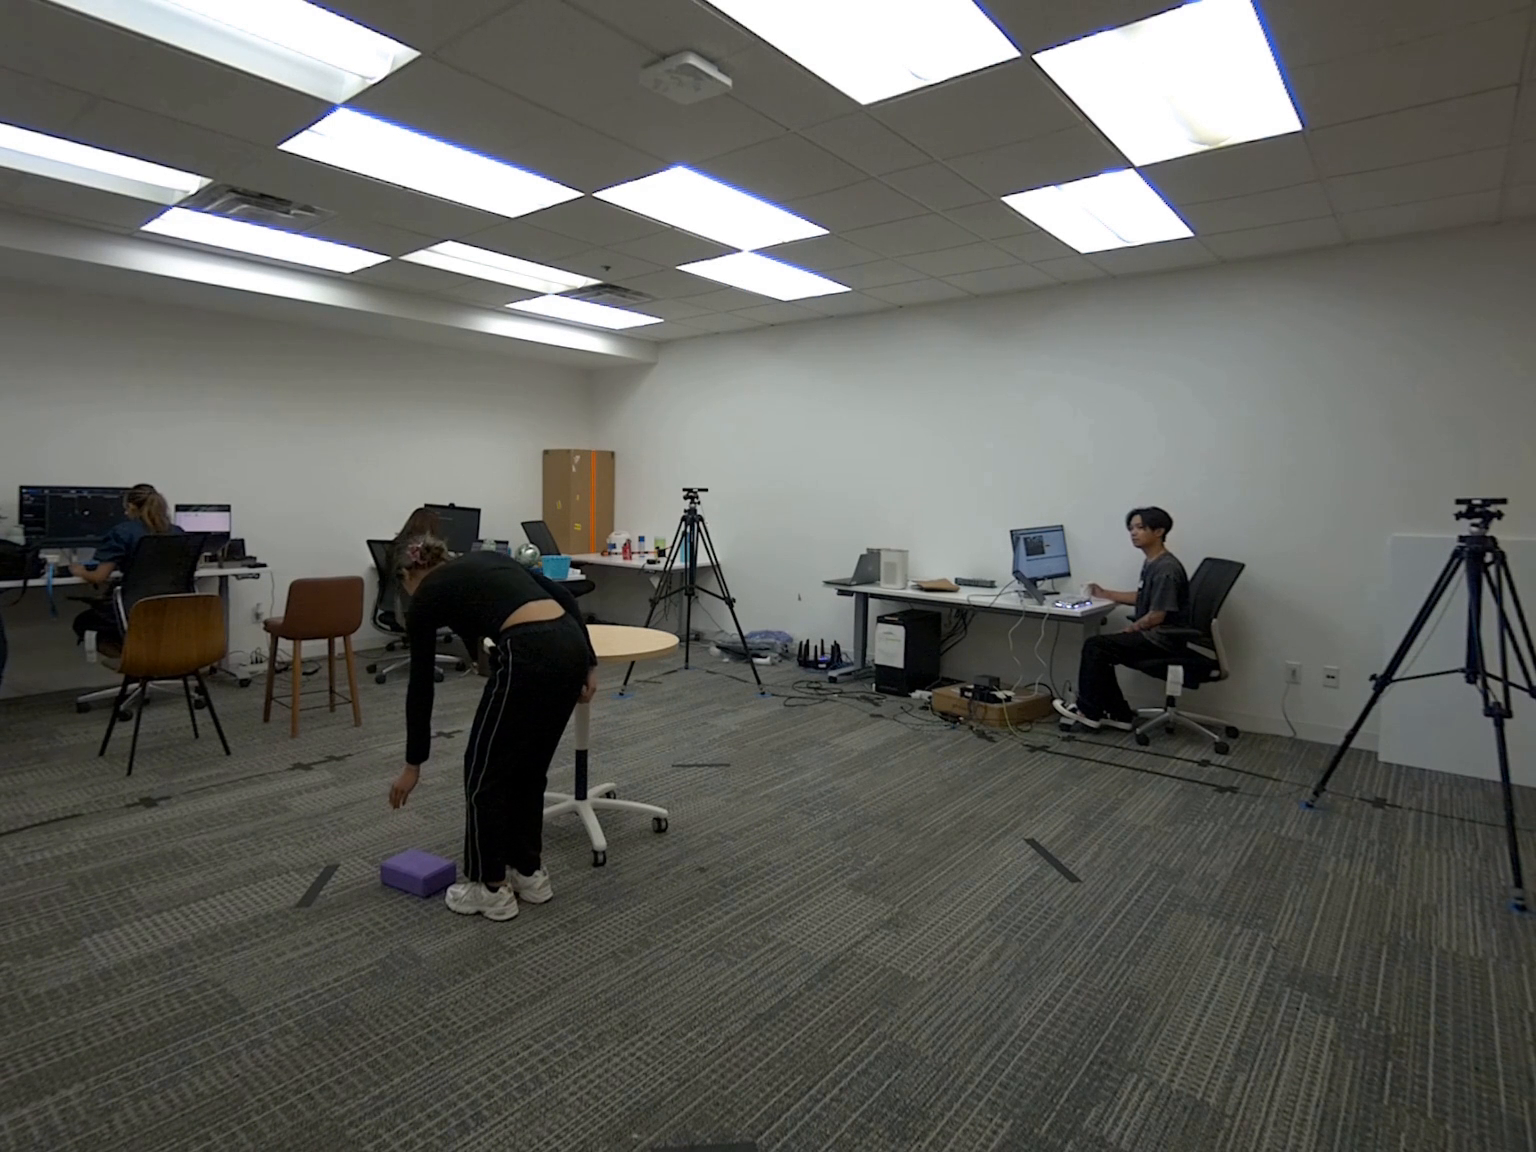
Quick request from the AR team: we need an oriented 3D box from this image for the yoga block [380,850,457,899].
[{"bbox_3d":[-1.235,1.032,2.967,0.236,0.076,0.145,3,7,30],"label":"yoga block"}]
